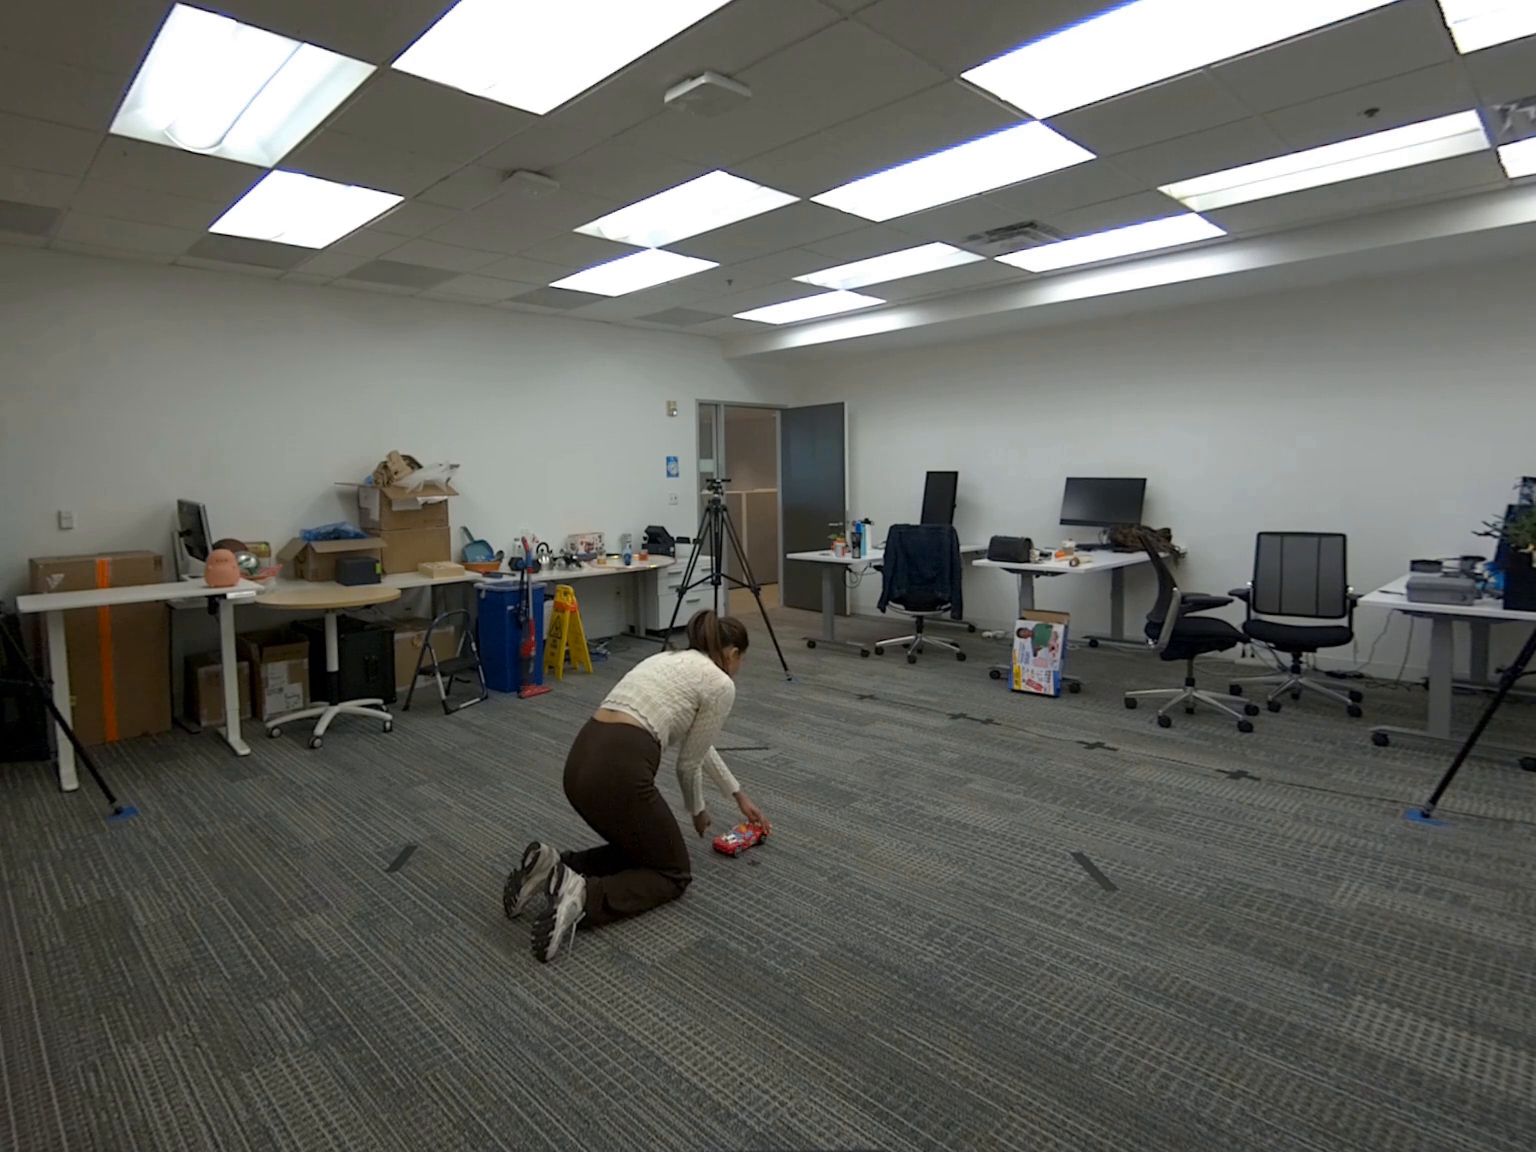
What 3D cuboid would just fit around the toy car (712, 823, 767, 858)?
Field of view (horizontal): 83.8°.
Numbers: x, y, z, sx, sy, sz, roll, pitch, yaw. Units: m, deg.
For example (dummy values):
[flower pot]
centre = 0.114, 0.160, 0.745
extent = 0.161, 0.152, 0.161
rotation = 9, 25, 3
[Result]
[toy car]
centre = -0.093, 0.997, 3.261
extent = 0.134, 0.082, 0.250
rotation = 4, 18, 40
